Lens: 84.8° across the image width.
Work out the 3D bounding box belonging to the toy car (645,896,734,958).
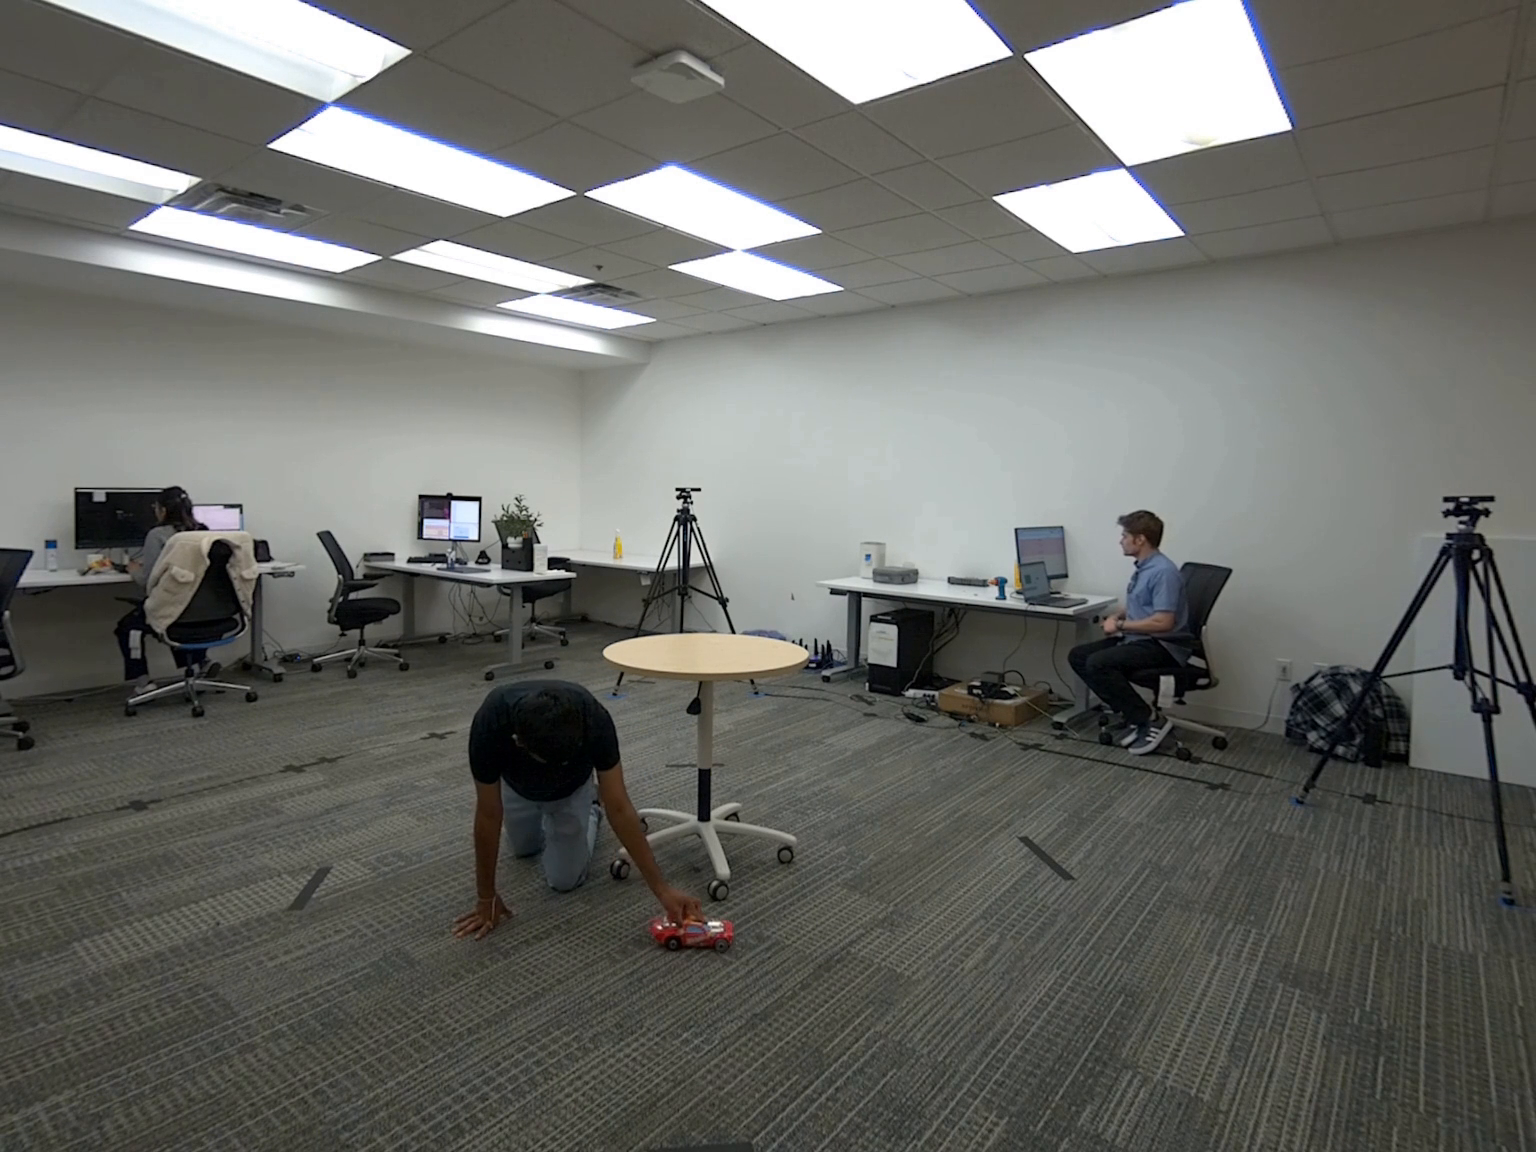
[{"bbox_3d":[-0.244,1.081,2.595,0.254,0.083,0.131,9,5,-3],"label":"toy car"}]
